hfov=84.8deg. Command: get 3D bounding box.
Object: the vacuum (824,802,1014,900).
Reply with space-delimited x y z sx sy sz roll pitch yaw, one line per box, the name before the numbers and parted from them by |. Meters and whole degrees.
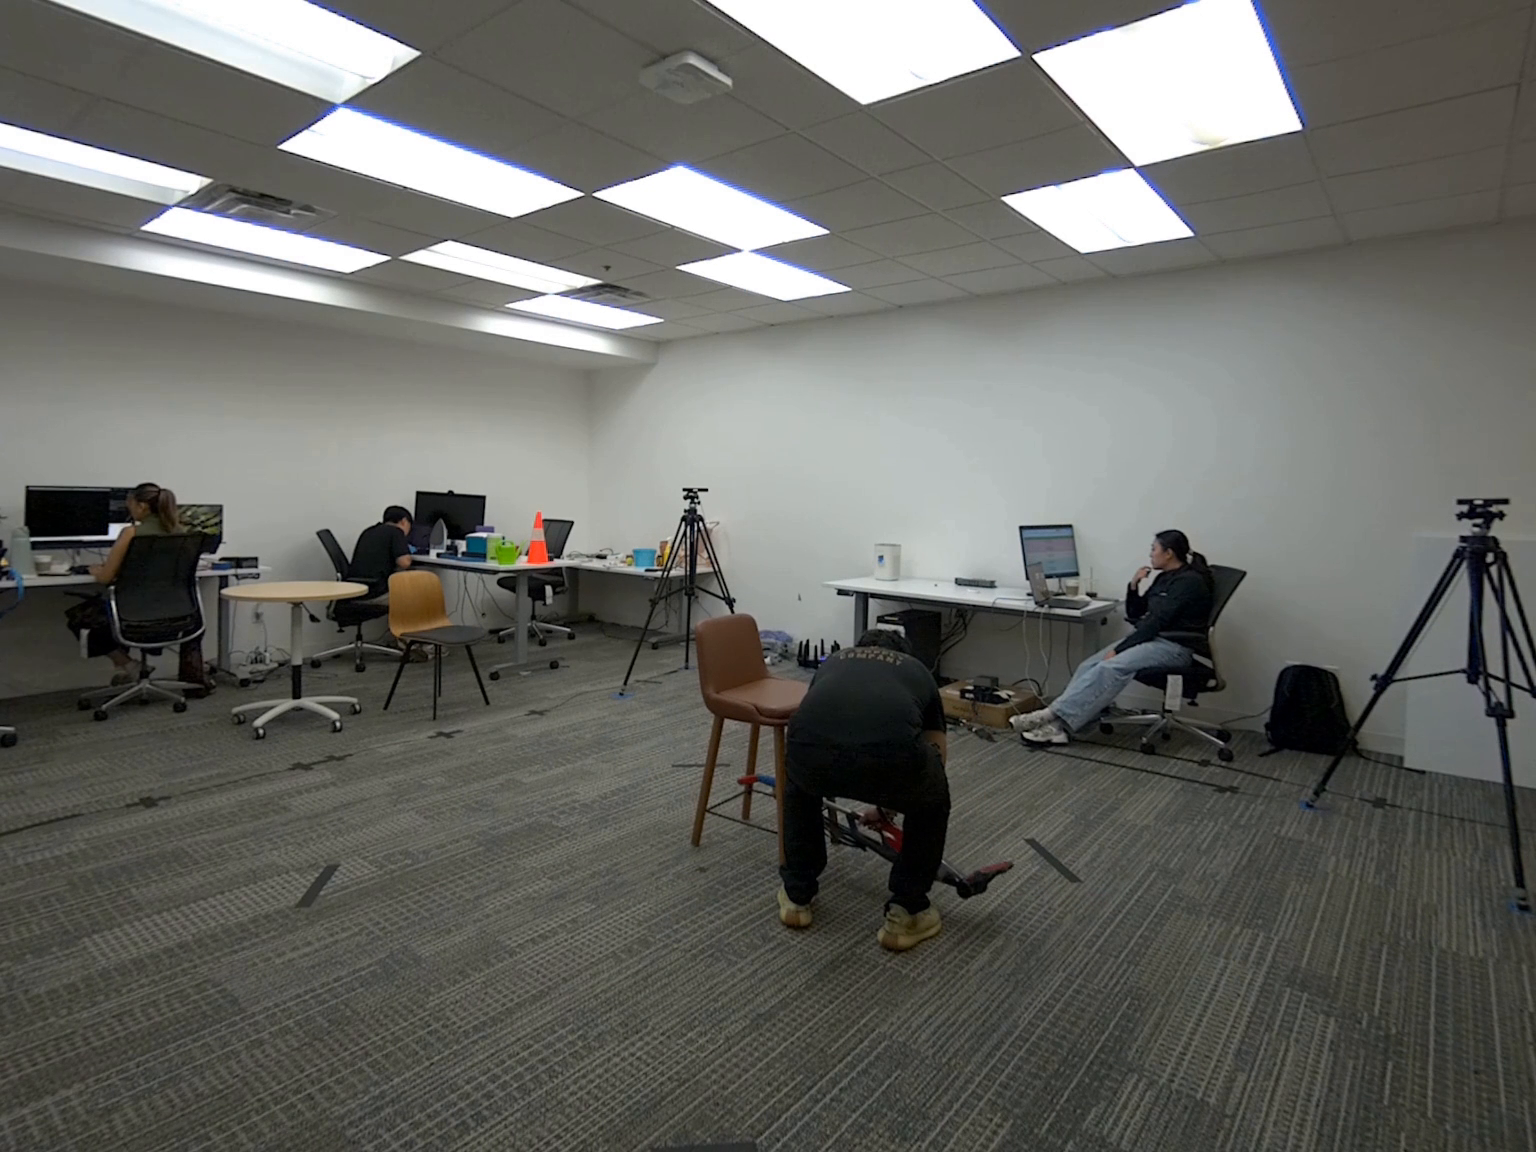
vacuum | 0.308 0.922 3.090 1.087 0.144 0.244 9 4 42
